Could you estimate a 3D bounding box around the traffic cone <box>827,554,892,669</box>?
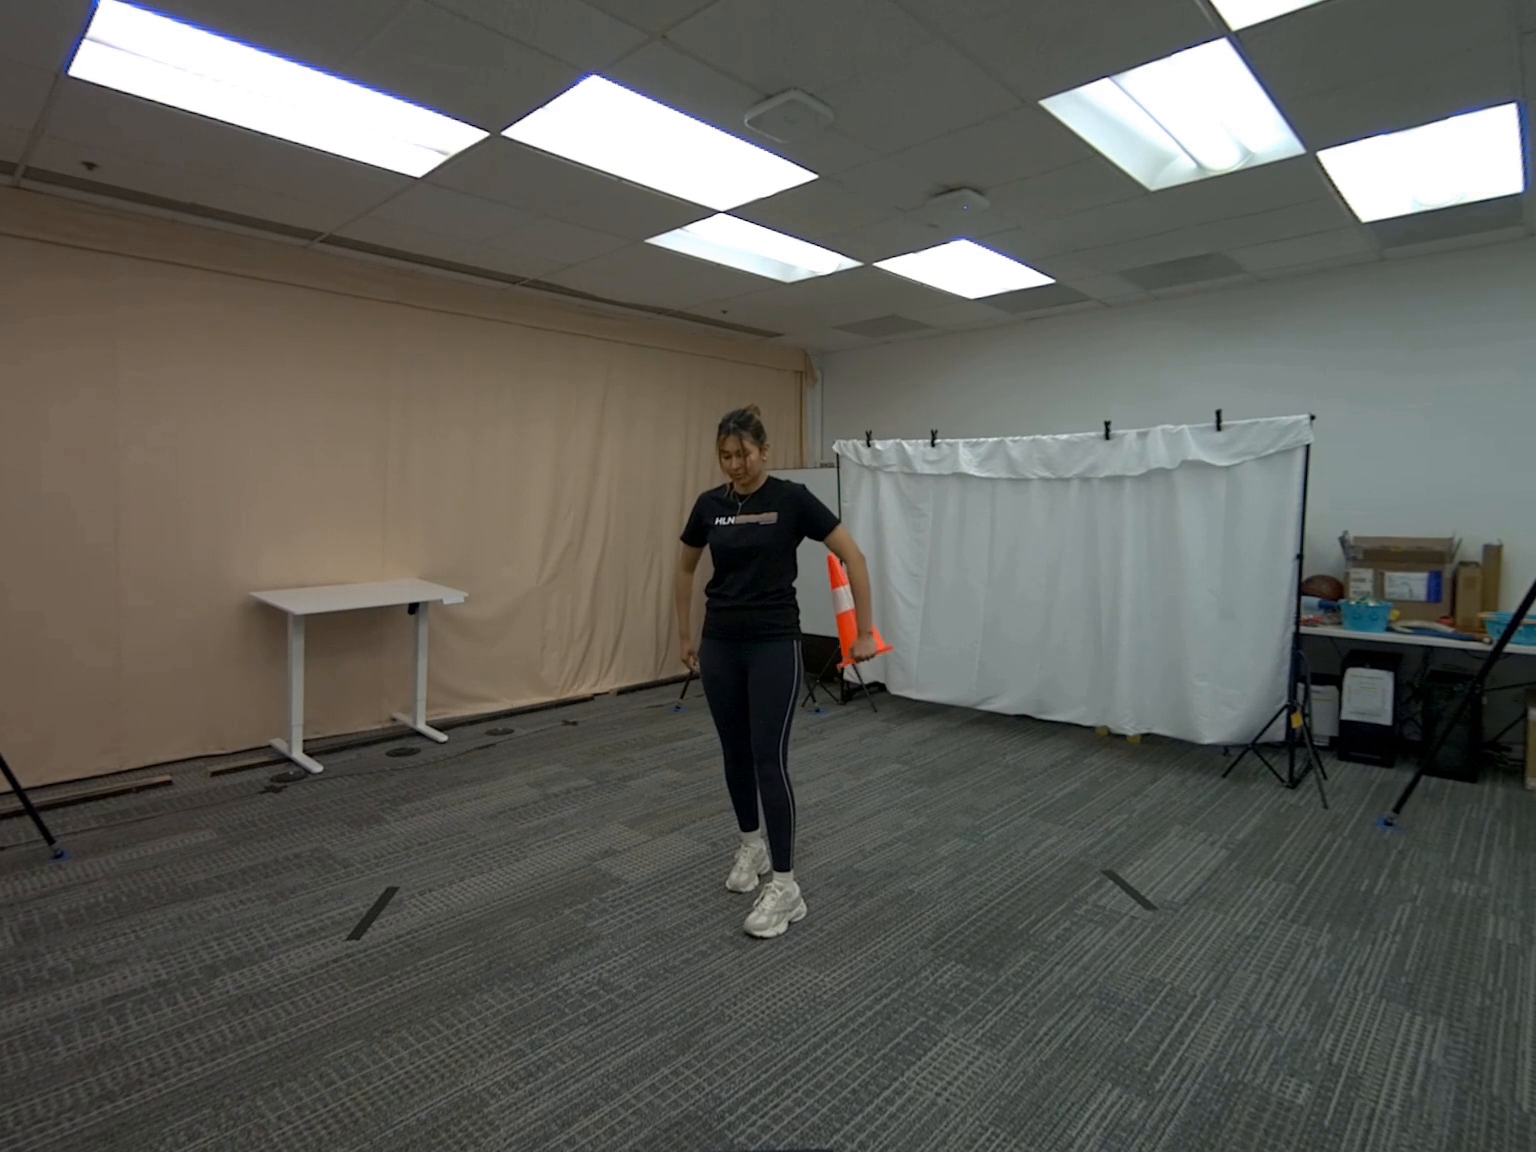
[{"bbox_3d":[0.276,0.104,2.974,0.205,0.388,0.201,-20,-11,11],"label":"traffic cone"}]
